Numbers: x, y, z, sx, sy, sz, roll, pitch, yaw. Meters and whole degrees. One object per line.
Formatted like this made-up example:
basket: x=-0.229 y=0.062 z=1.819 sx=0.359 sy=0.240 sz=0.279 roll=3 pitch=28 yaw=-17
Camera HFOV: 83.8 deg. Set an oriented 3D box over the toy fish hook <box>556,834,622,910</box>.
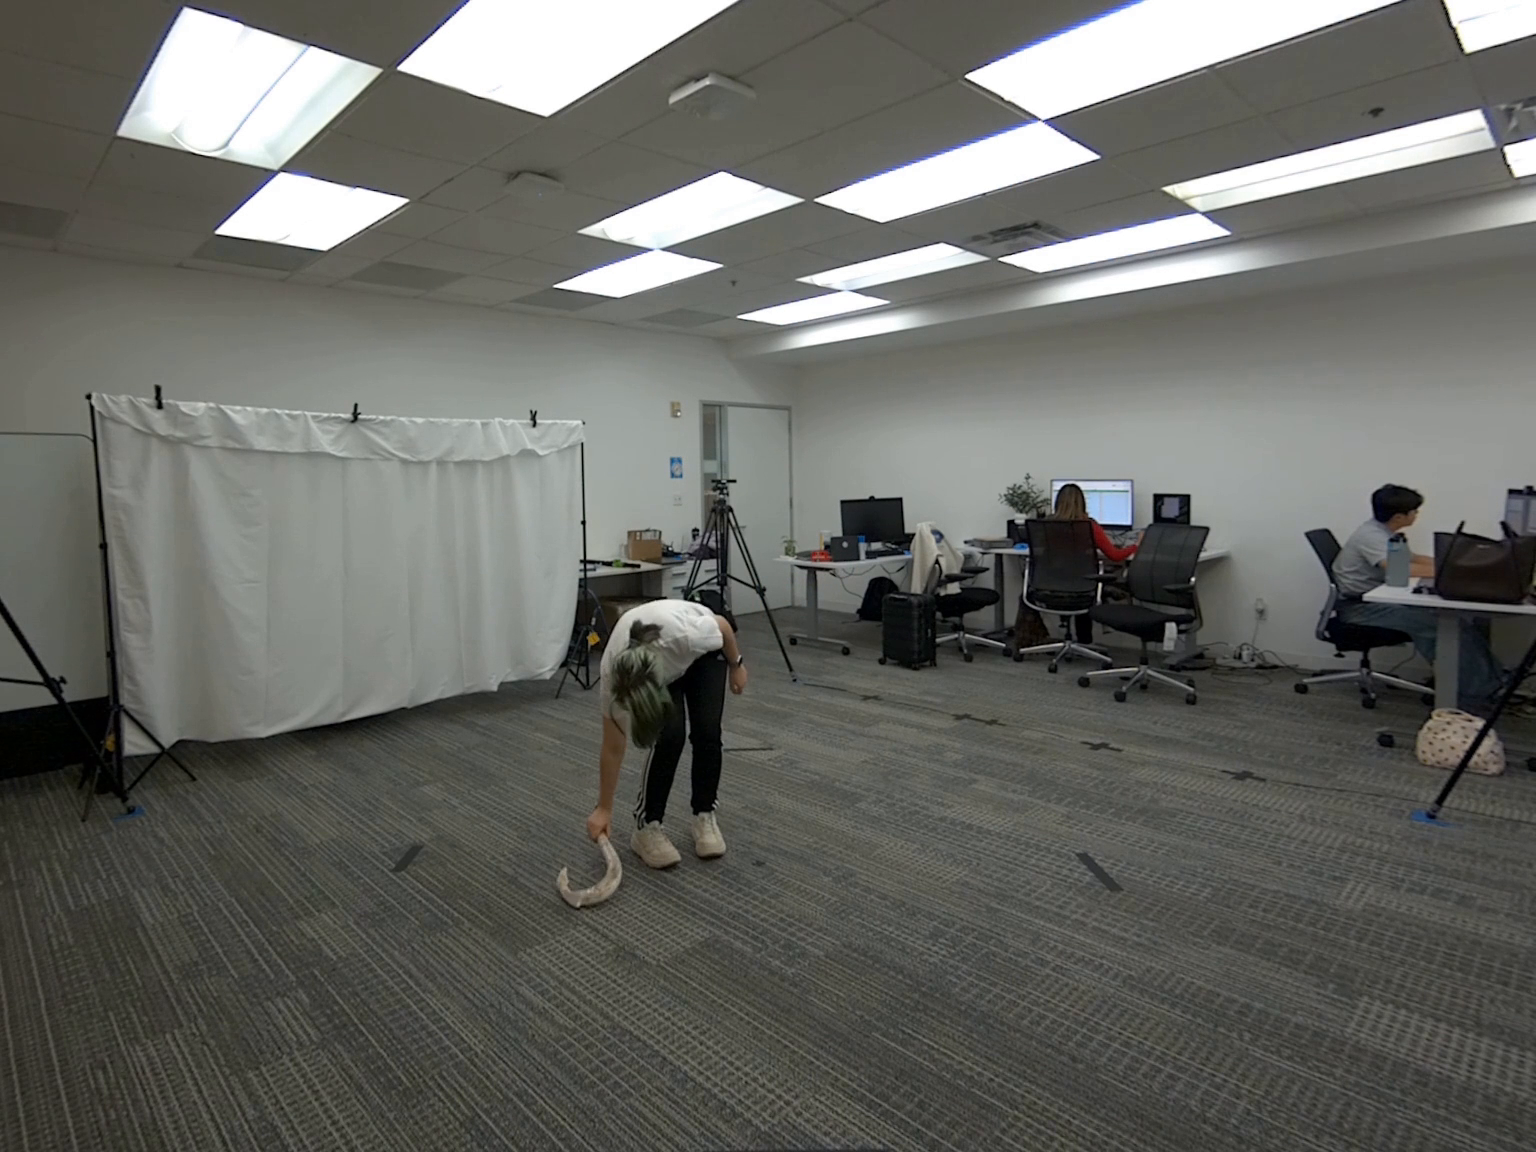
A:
toy fish hook: x=-0.636 y=0.970 z=3.019 sx=0.223 sy=0.047 sz=0.520 roll=-10 pitch=21 yaw=-9
